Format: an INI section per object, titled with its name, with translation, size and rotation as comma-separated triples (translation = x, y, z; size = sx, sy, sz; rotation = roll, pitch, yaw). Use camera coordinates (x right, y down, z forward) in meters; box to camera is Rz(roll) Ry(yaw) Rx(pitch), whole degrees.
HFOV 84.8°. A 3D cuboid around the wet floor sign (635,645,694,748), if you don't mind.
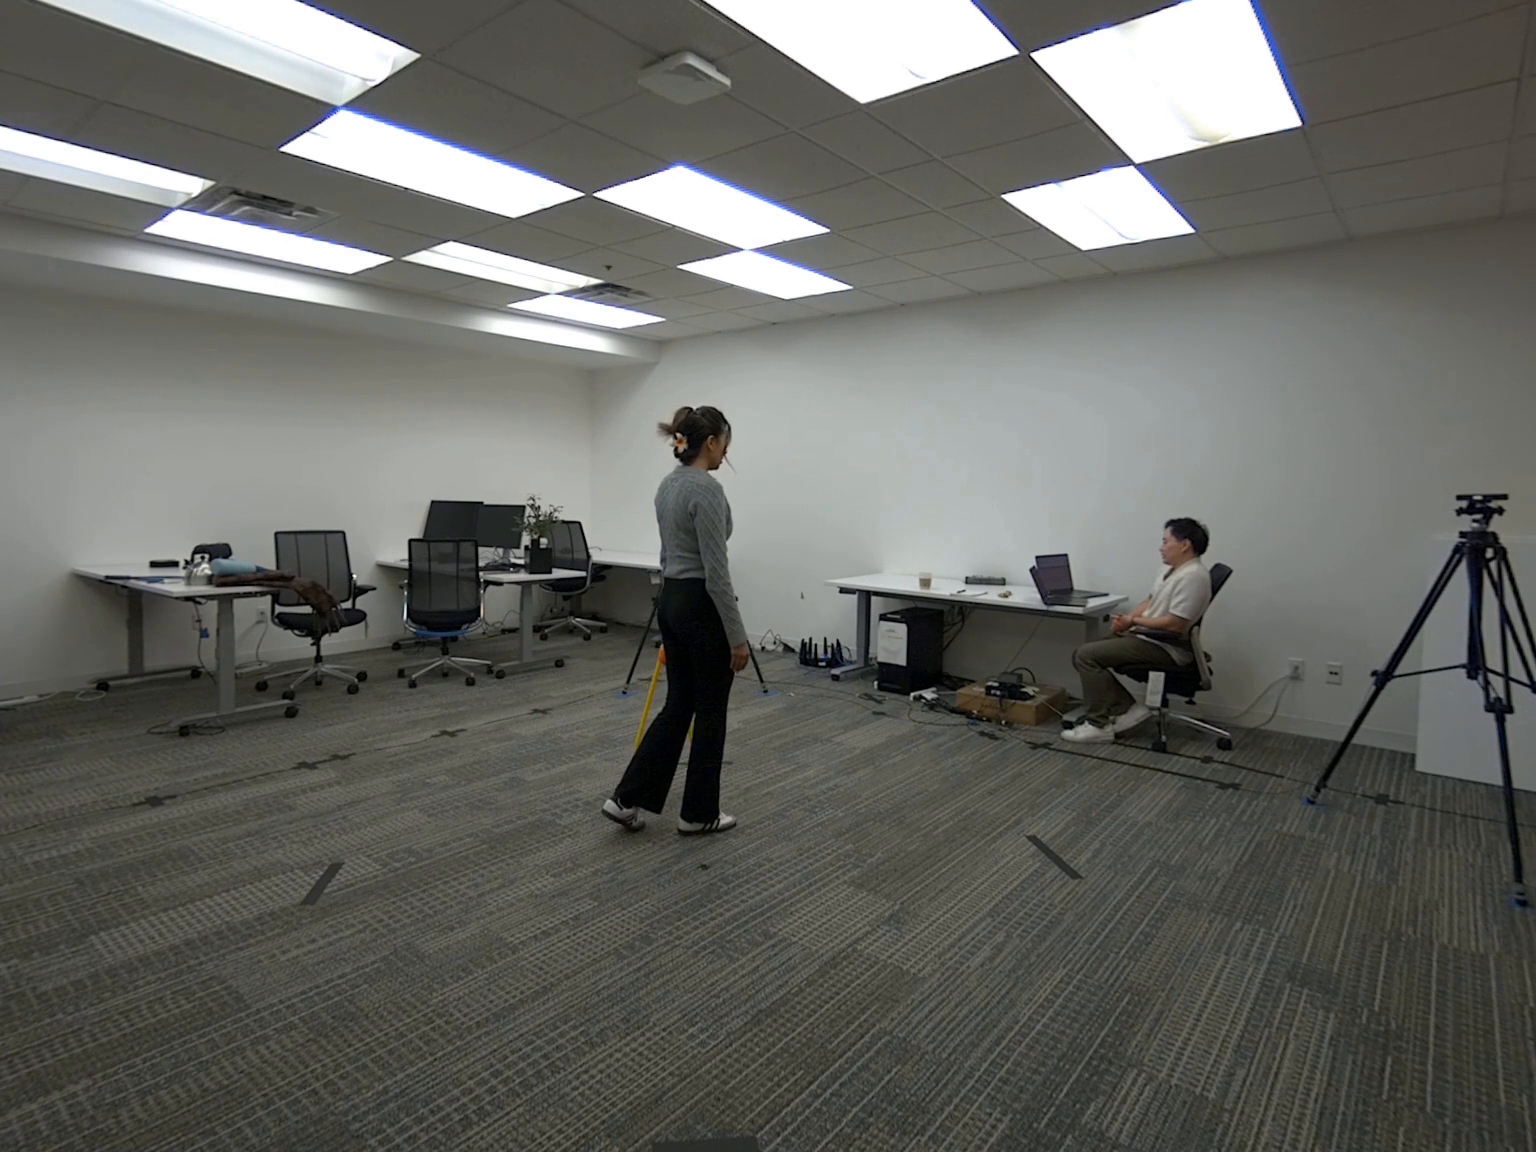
[wet floor sign]
translation = -0.451, 0.492, 3.788
size = 0.289, 0.641, 0.285
rotation = 4, 8, -2
